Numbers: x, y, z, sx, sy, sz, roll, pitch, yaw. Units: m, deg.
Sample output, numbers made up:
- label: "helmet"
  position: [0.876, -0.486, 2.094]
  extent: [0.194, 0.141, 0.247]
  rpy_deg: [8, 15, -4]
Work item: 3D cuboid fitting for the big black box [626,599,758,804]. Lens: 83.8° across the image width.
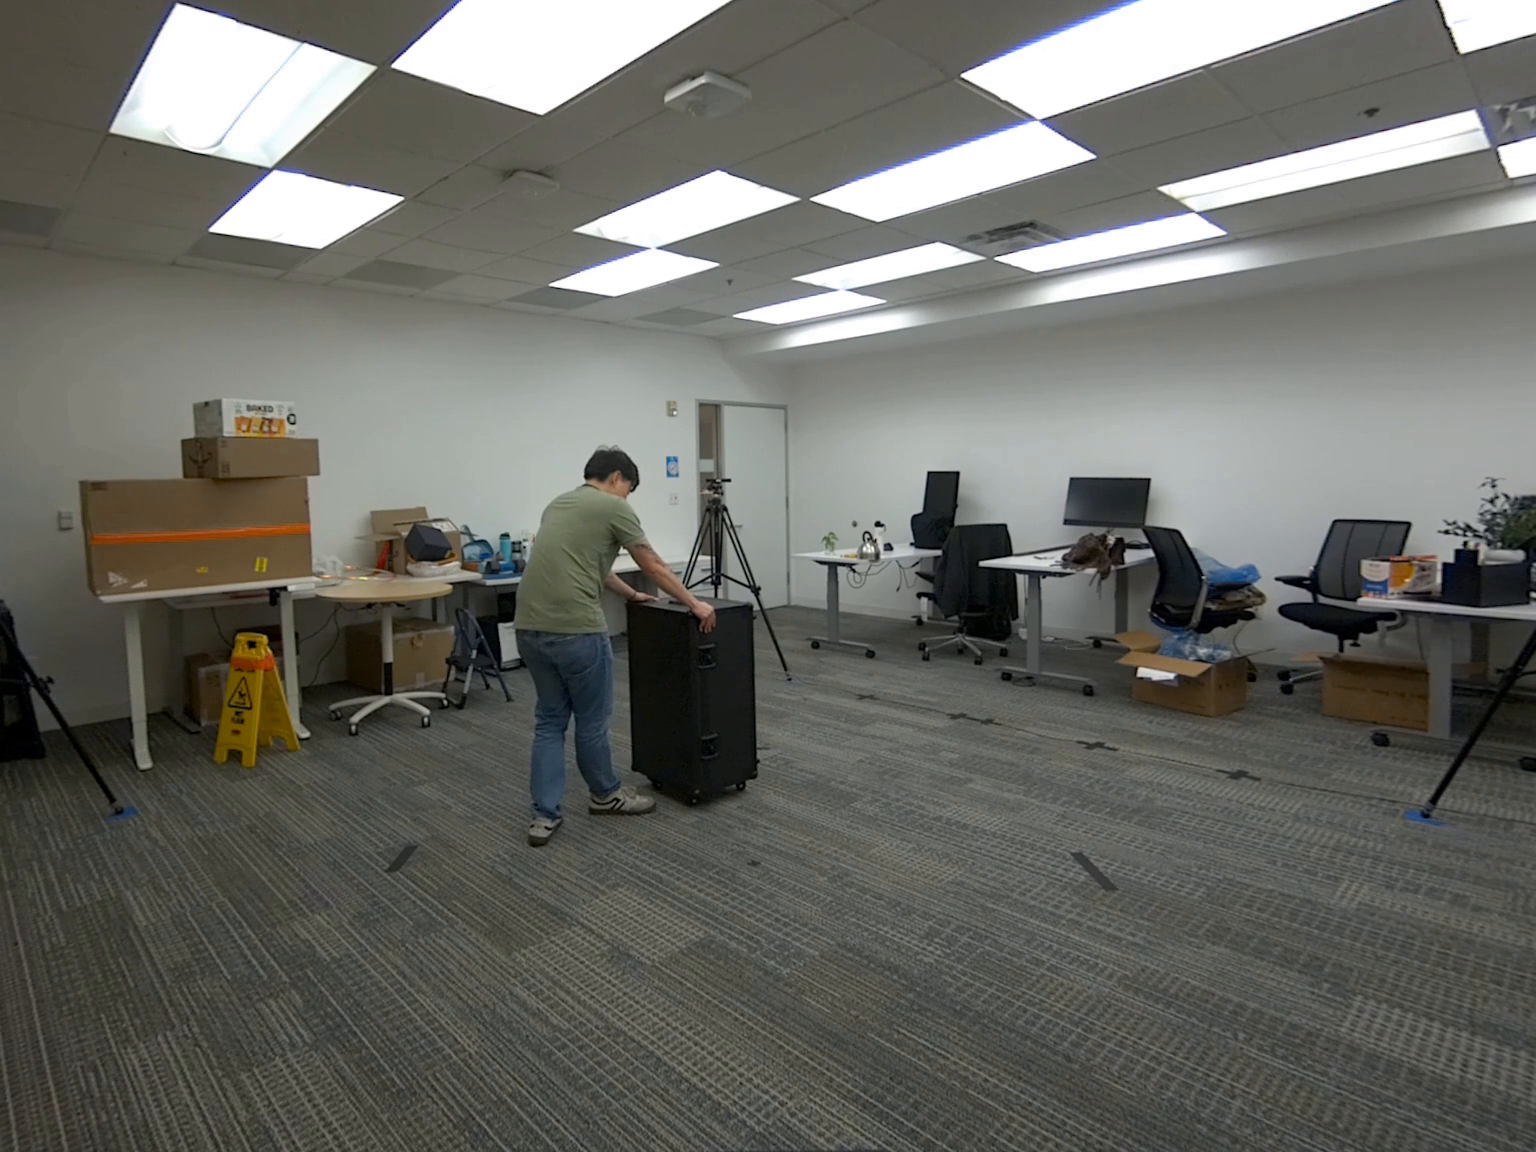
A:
- label: "big black box"
  position: [-0.337, 0.541, 3.863]
  extent: [0.385, 0.859, 0.537]
  rpy_deg: [-3, 4, -41]
